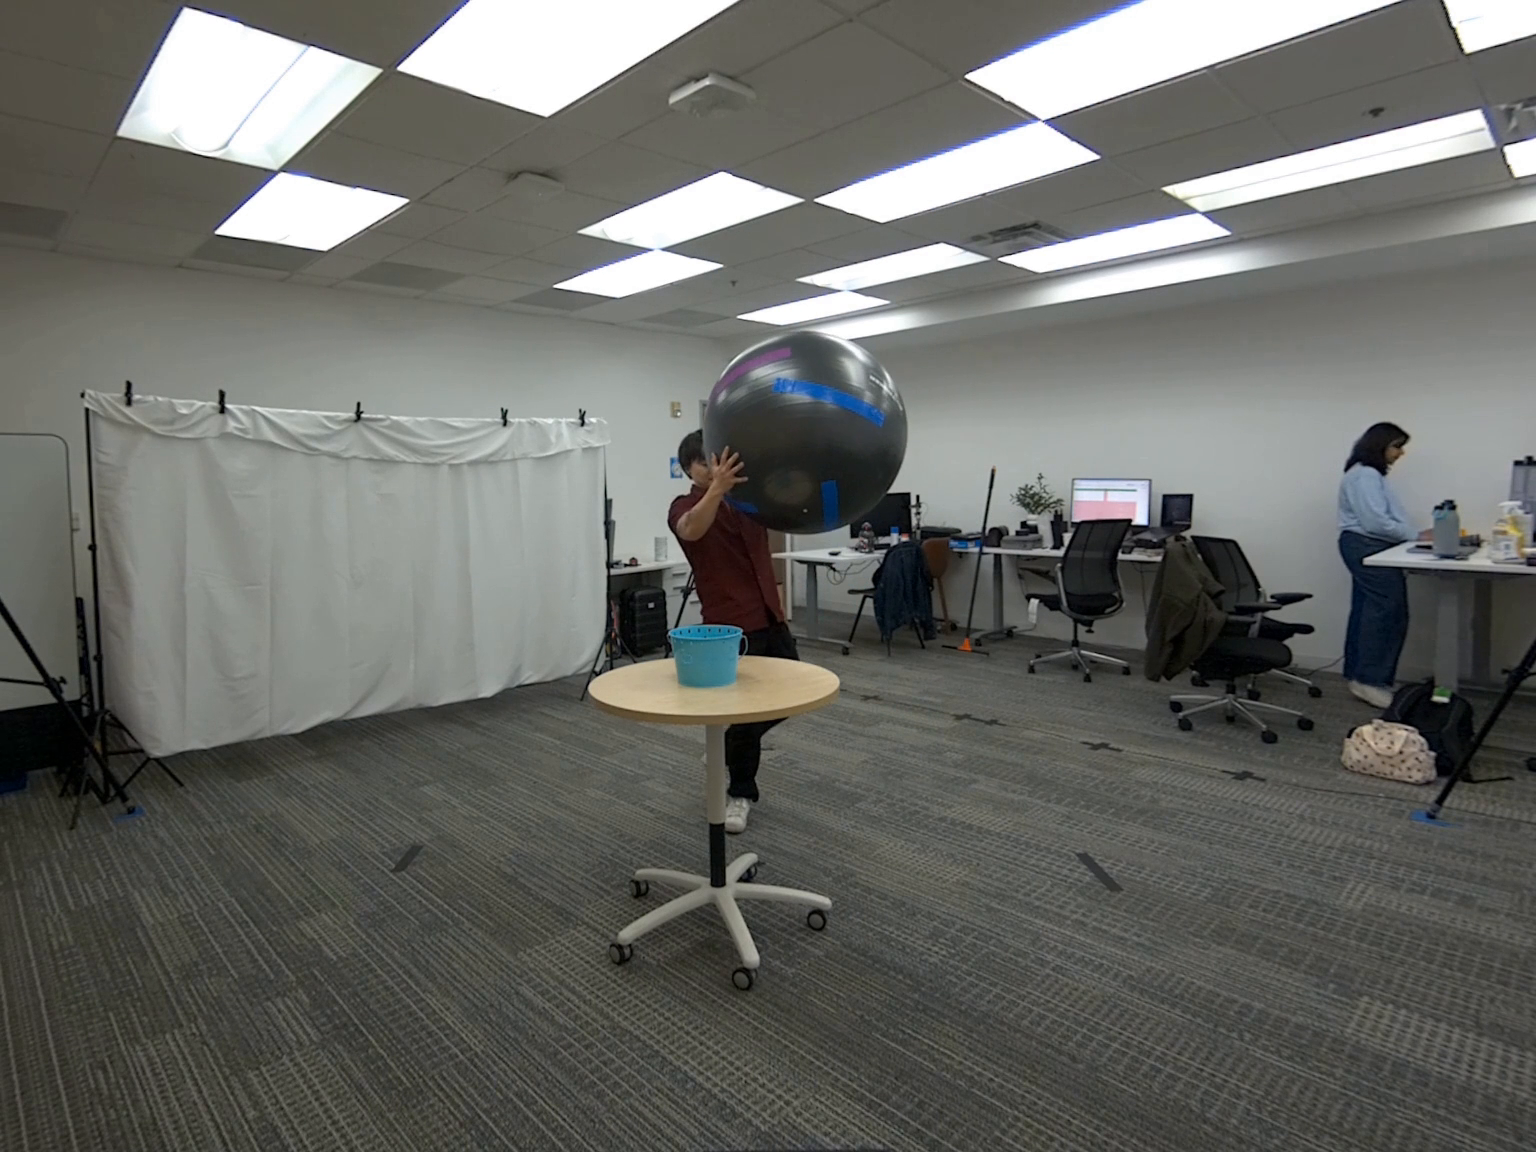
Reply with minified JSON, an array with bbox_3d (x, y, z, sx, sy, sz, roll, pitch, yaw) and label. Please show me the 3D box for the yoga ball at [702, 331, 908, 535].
[{"bbox_3d":[0.136,-0.525,3.212,0.757,0.755,0.762,-1,5,-2],"label":"yoga ball"}]
